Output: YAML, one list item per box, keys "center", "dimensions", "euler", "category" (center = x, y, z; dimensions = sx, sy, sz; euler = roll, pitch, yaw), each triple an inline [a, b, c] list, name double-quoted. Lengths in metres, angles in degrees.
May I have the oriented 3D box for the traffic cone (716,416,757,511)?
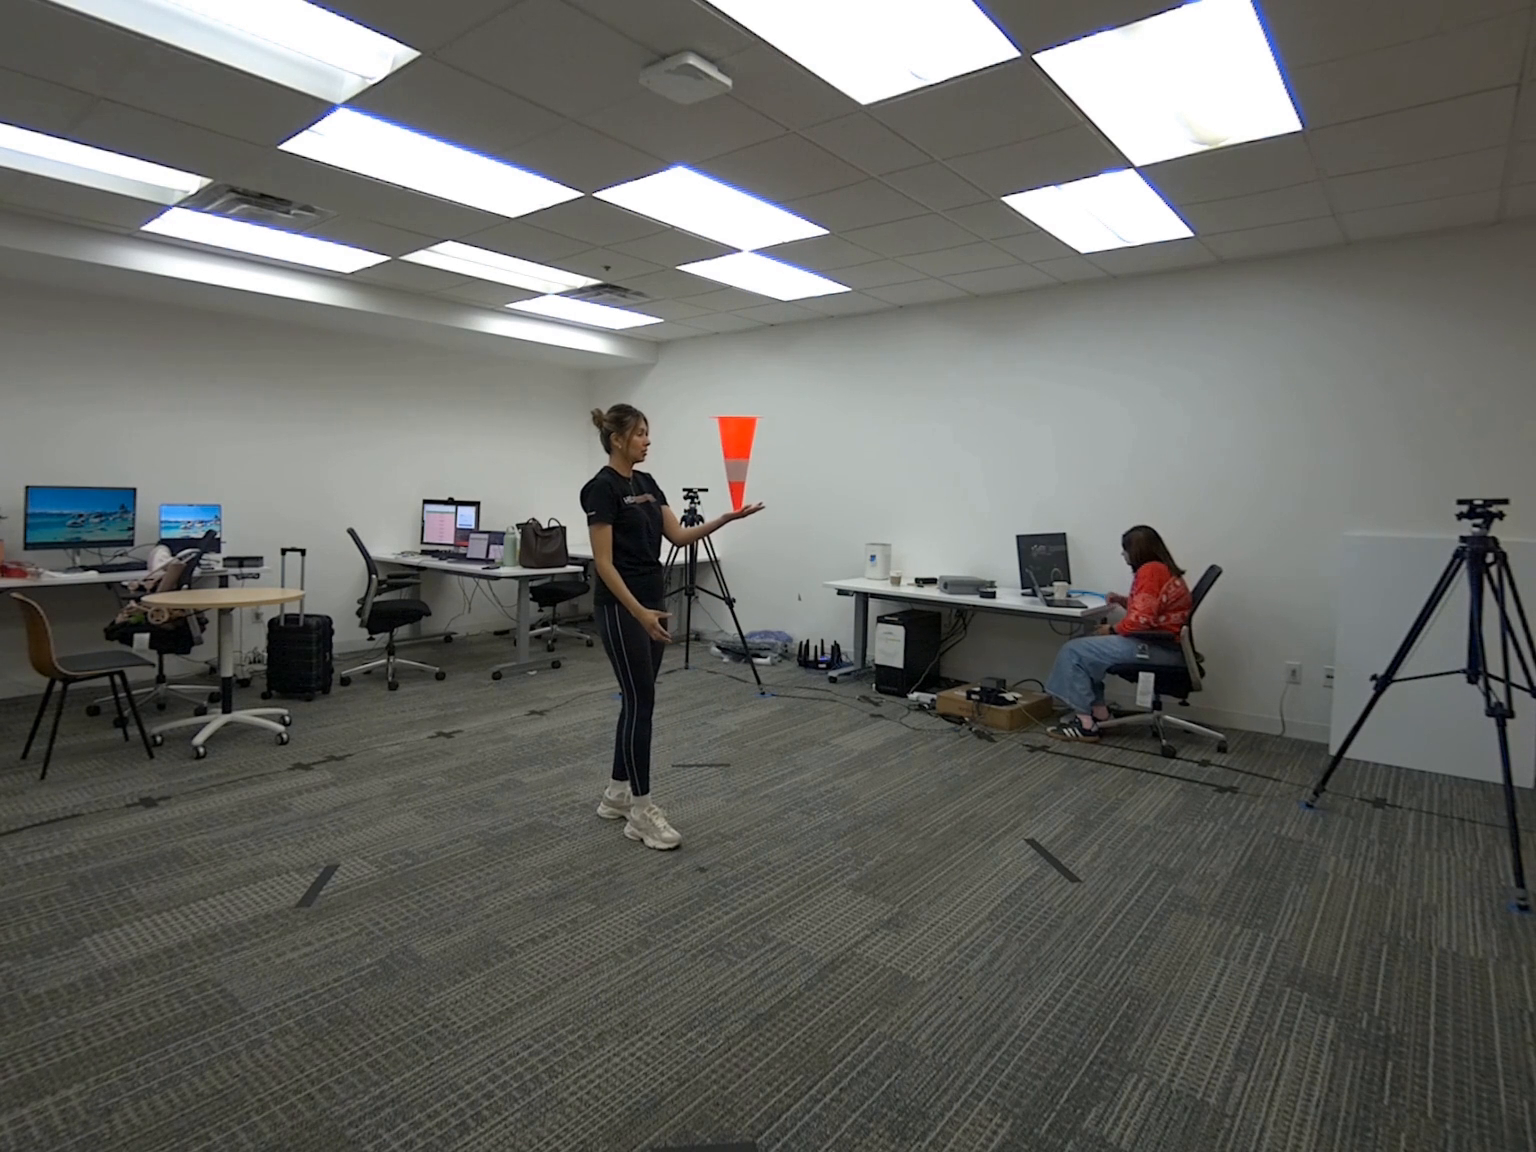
- center: [-0.135, -0.448, 3.410]
  dimensions: [0.197, 0.383, 0.211]
  euler: [-2, 3, -38]
  category: "traffic cone"
